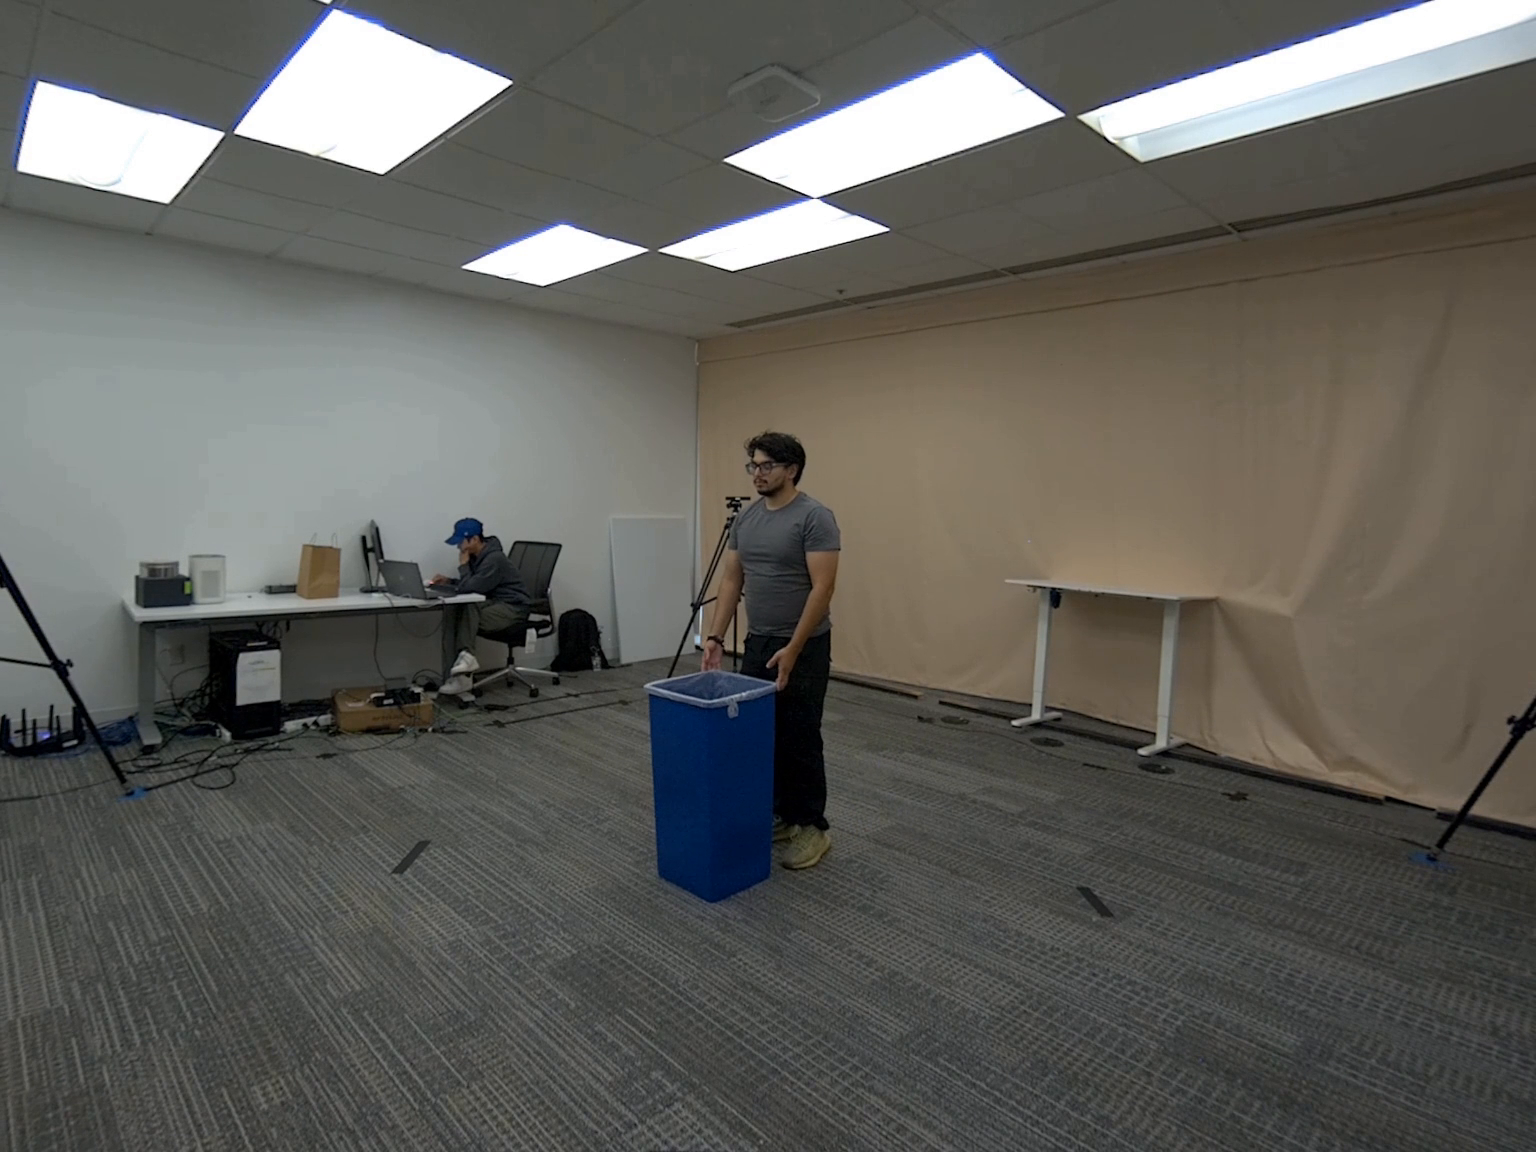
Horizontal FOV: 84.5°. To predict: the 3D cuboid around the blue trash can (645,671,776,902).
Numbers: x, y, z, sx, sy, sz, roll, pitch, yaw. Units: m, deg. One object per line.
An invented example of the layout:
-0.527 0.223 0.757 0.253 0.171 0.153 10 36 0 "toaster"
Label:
-0.207 0.747 3.074 0.387 0.711 0.366 3 6 43 "blue trash can"
